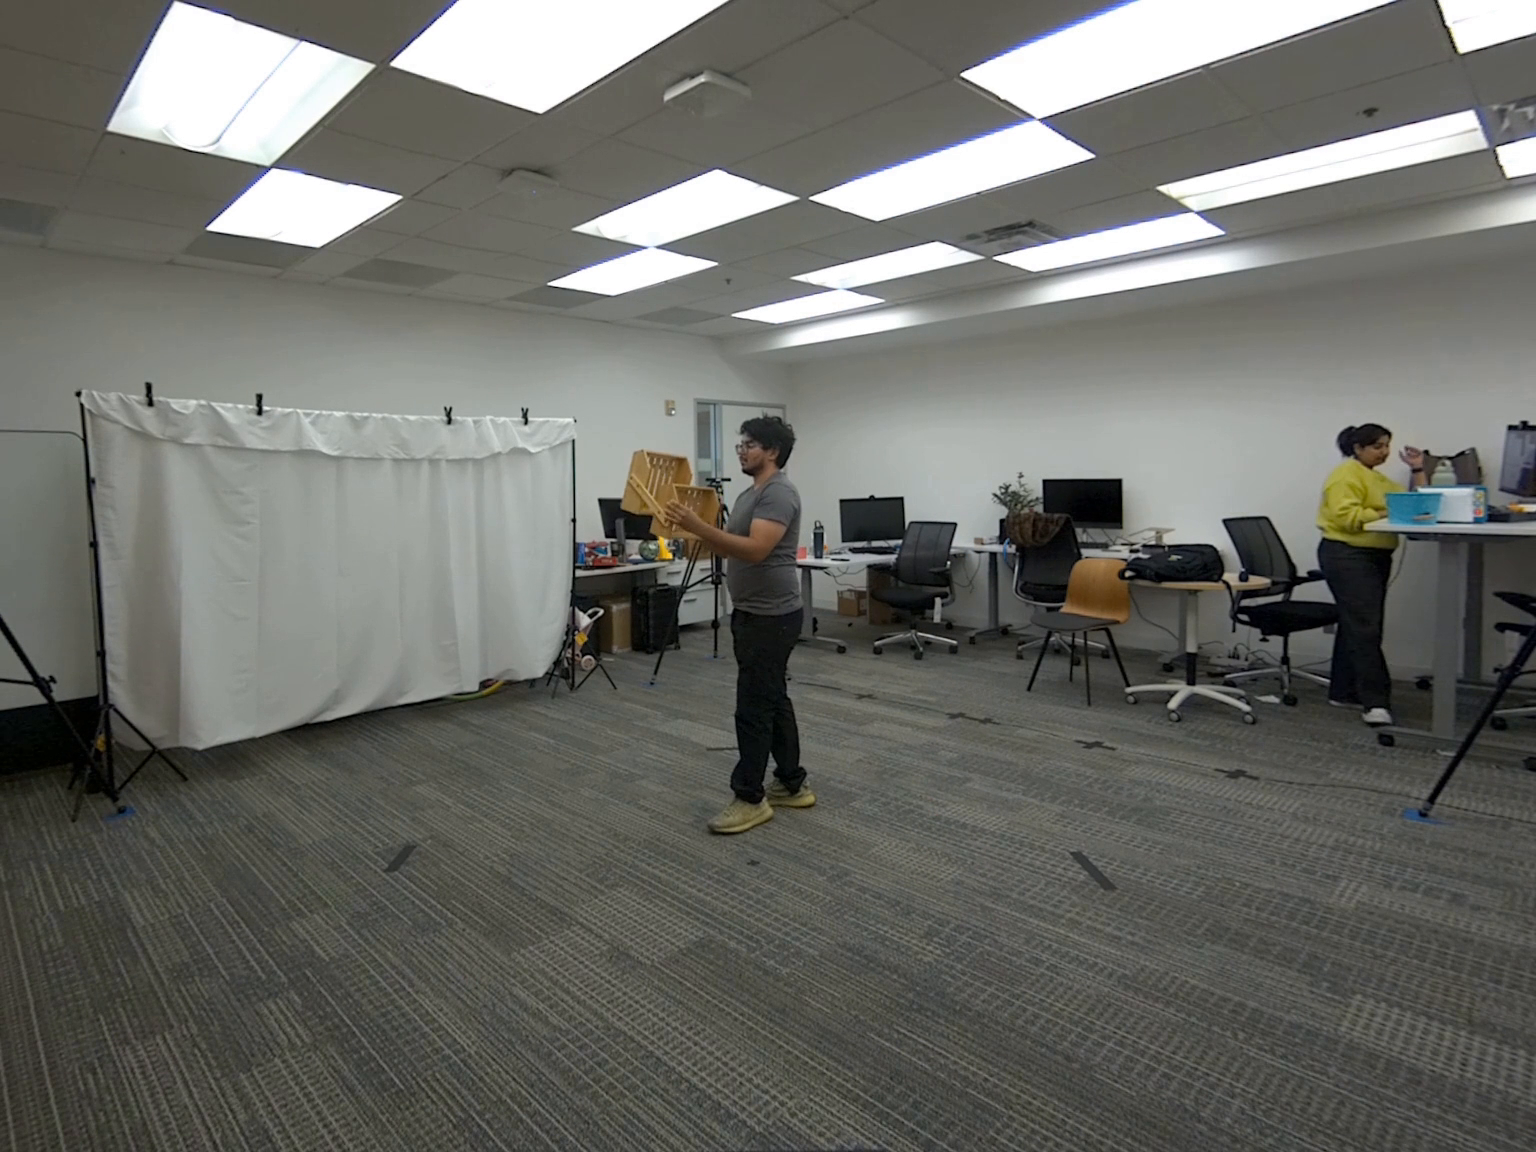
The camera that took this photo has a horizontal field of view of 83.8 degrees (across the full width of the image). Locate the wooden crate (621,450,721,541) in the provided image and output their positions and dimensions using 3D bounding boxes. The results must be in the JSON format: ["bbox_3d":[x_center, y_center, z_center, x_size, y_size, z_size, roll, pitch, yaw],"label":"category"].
[{"bbox_3d":[-0.373,-0.325,3.429,0.282,0.300,0.316,20,11,27],"label":"wooden crate"}]
